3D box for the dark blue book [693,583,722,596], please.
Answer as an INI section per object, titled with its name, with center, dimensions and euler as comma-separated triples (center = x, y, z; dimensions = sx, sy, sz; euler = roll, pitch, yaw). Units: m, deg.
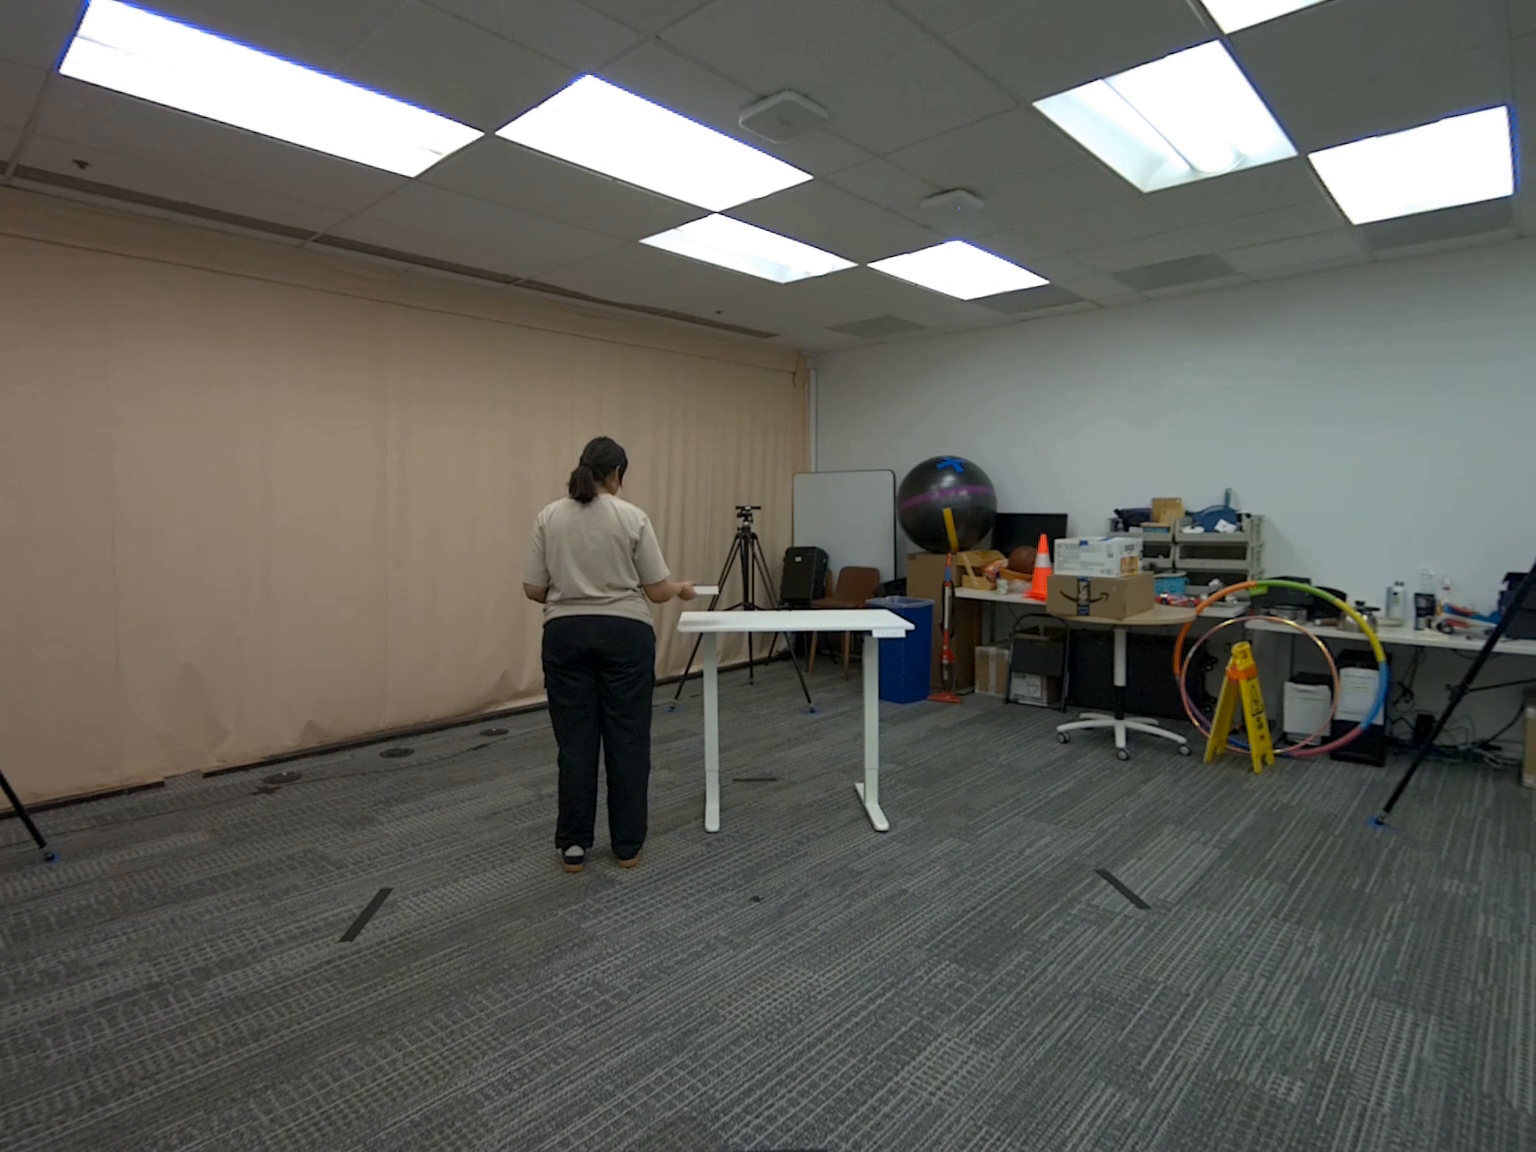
[dark blue book]
center = -0.344, 0.058, 3.699
dimensions = 0.241, 0.045, 0.166
euler = 0, 2, -16
